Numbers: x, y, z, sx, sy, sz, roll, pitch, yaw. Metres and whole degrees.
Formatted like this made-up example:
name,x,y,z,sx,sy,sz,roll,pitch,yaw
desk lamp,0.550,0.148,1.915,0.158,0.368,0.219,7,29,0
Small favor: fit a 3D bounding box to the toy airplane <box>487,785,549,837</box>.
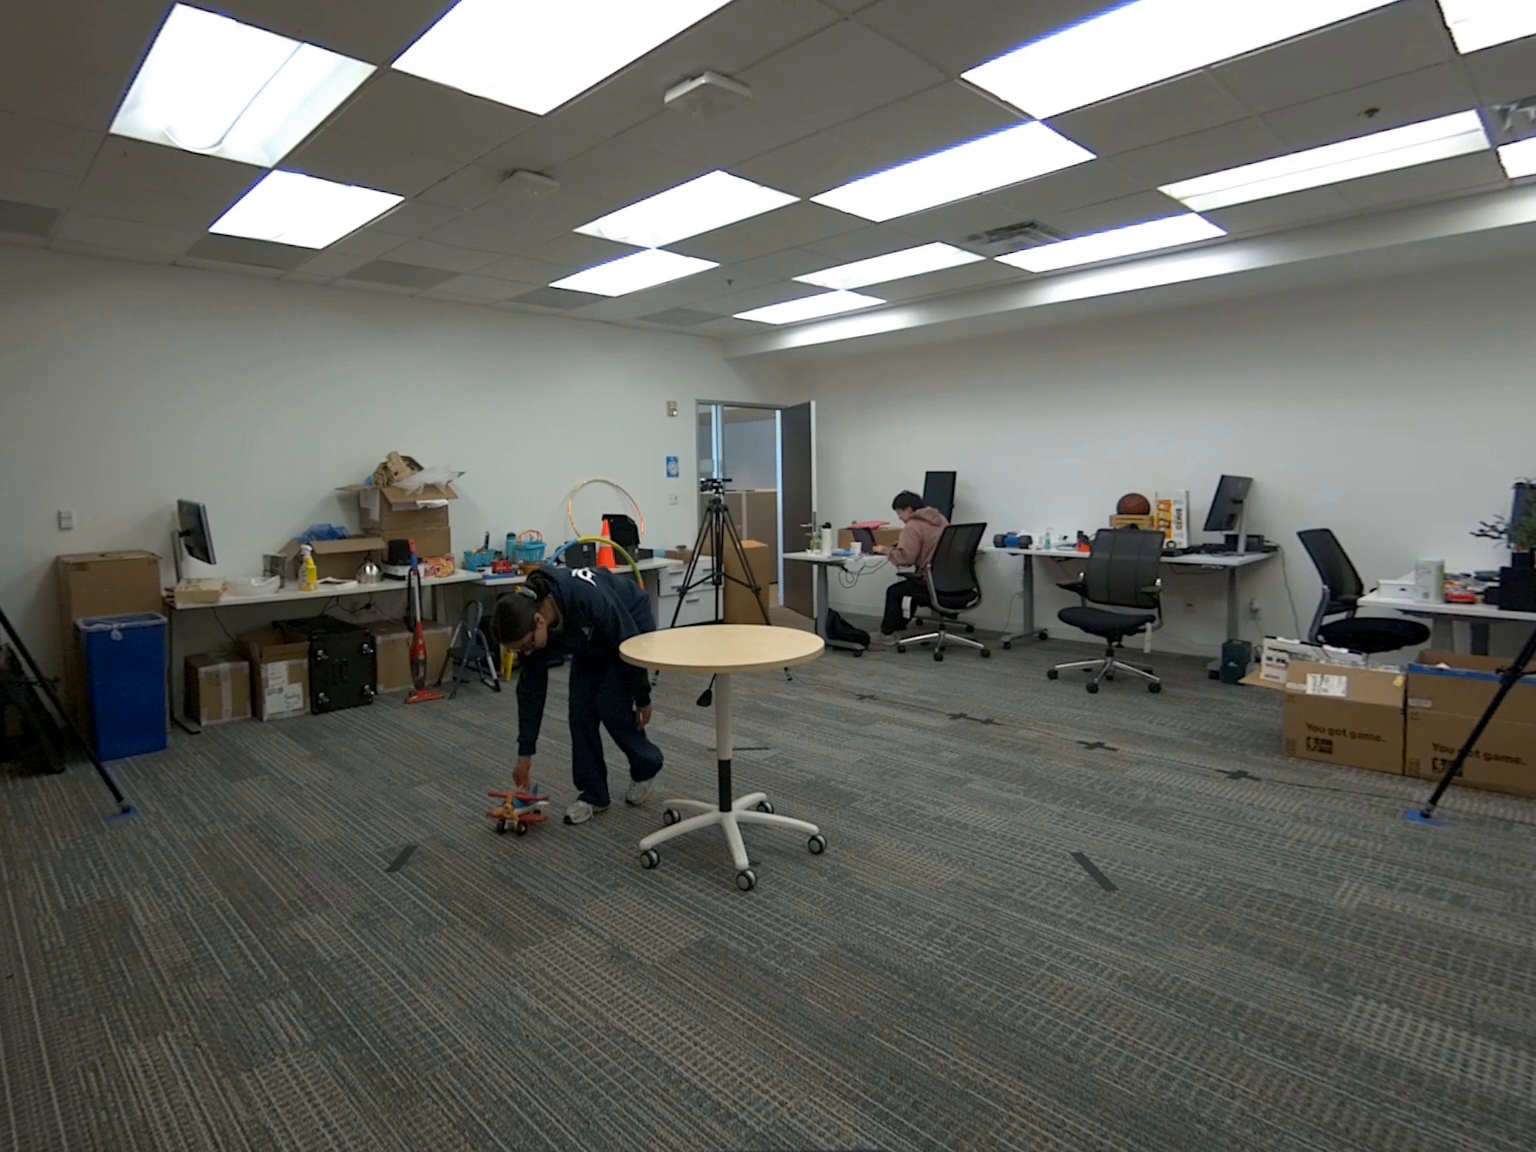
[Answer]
name,x,y,z,sx,sy,sz,roll,pitch,yaw
toy airplane,-1.018,0.948,3.491,0.248,0.155,0.264,-2,7,-14
